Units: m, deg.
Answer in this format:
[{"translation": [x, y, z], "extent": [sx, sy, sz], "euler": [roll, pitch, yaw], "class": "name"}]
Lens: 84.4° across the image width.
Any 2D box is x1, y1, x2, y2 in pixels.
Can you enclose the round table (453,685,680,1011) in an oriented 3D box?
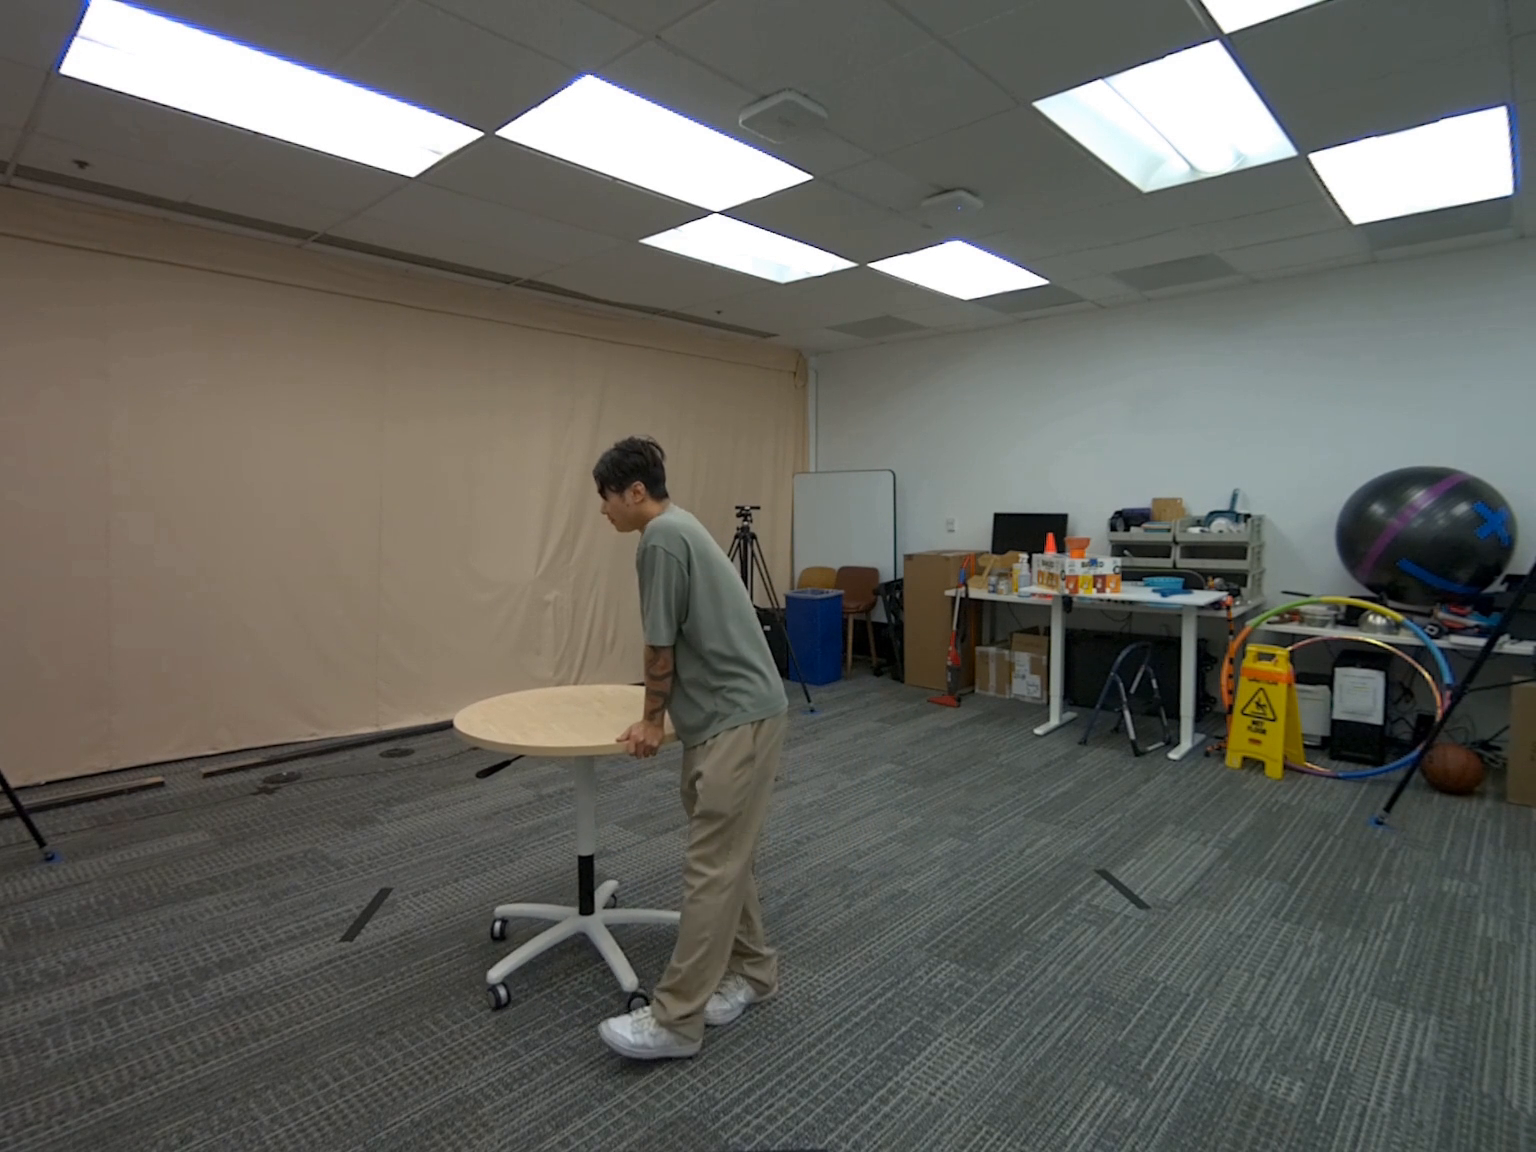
[{"translation": [-0.553, 0.793, 2.604], "extent": [0.784, 0.785, 0.788], "euler": [0, 4, -2], "class": "round table"}]
